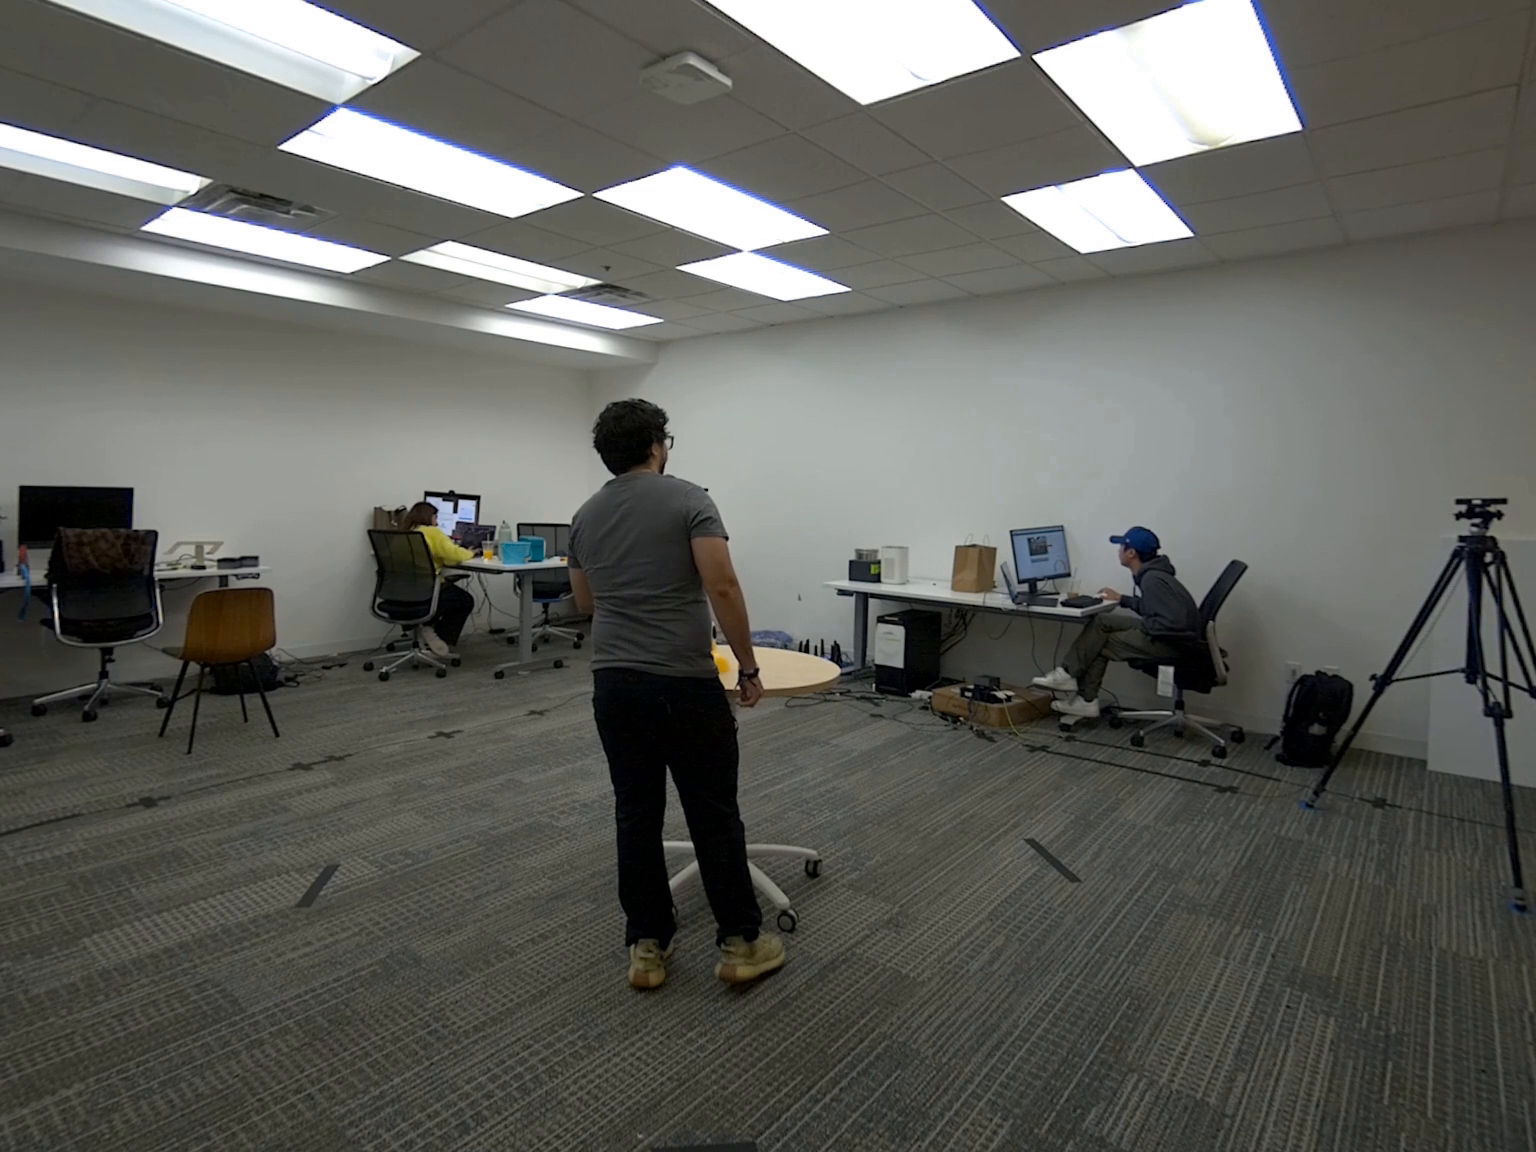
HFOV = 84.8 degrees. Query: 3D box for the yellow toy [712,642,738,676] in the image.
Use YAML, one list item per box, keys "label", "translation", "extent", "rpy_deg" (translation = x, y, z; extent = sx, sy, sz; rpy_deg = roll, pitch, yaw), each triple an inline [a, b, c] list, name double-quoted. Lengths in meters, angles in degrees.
- label: "yellow toy"
  translation: [-0.240, 0.194, 2.859]
  extent: [0.212, 0.230, 0.187]
  rpy_deg: [4, 4, 44]
